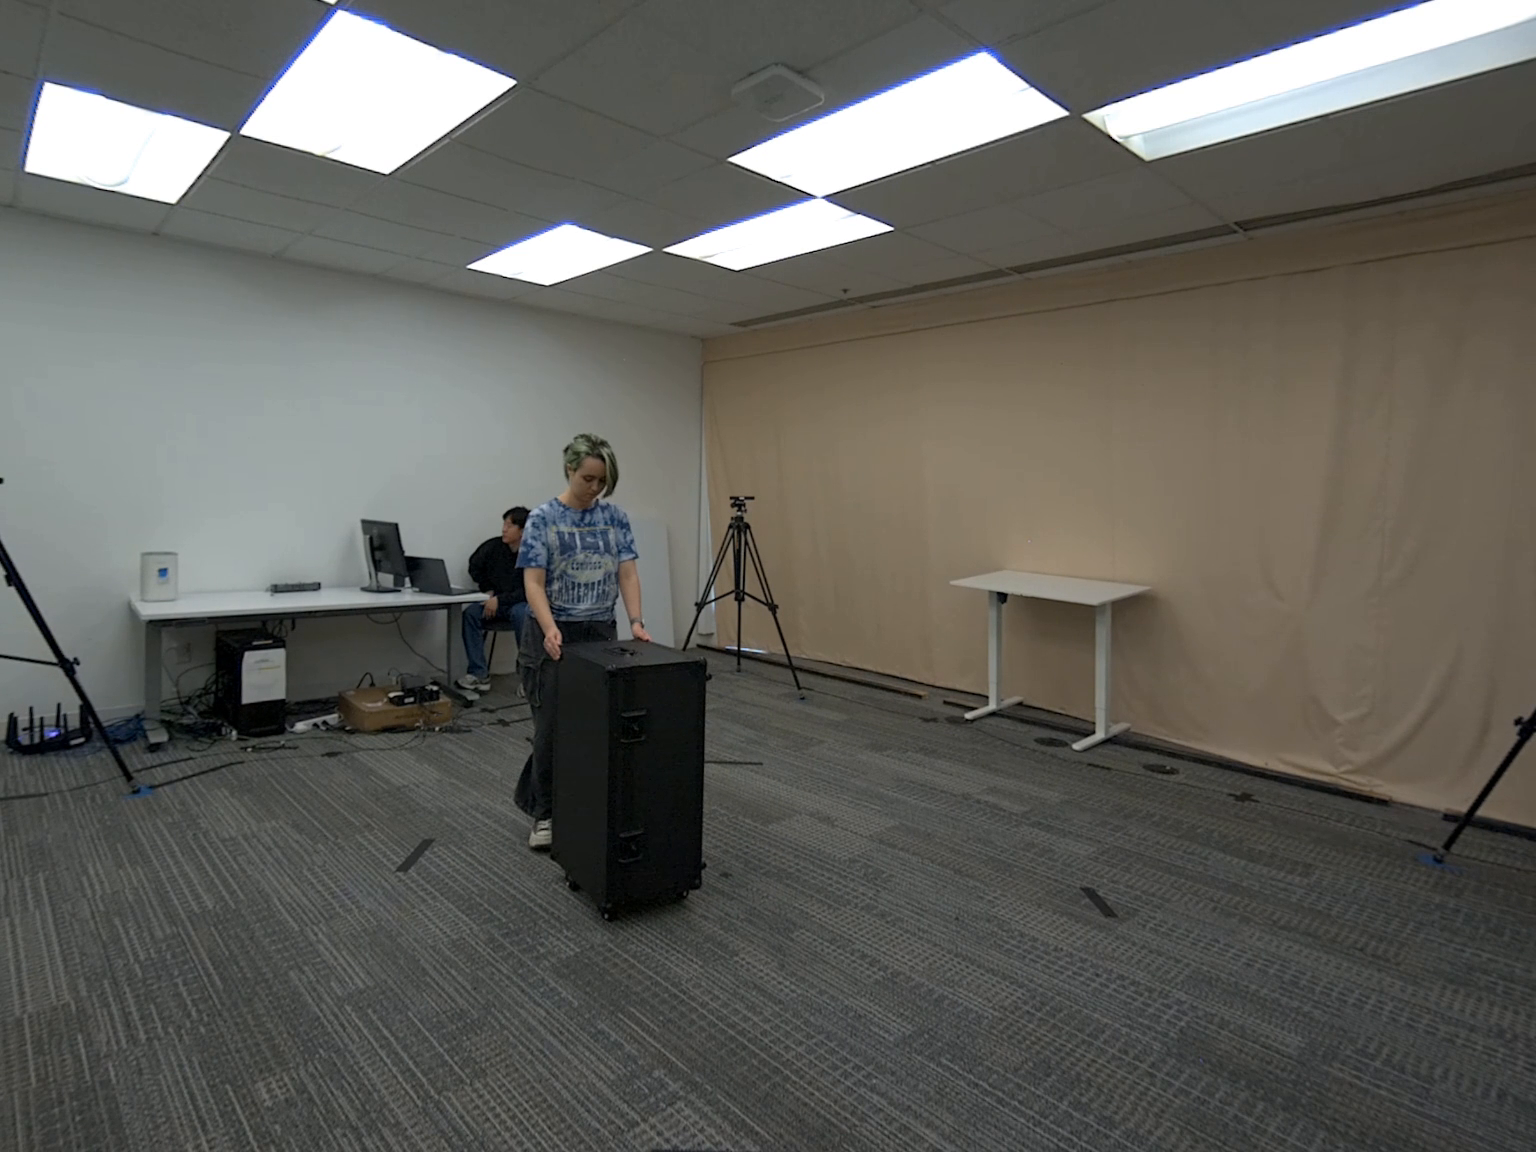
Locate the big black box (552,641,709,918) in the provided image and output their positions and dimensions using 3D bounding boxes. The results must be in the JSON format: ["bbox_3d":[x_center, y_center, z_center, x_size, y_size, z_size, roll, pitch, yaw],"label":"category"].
[{"bbox_3d":[-0.495,0.690,2.934,0.387,0.860,0.533,1,2,-34],"label":"big black box"}]
